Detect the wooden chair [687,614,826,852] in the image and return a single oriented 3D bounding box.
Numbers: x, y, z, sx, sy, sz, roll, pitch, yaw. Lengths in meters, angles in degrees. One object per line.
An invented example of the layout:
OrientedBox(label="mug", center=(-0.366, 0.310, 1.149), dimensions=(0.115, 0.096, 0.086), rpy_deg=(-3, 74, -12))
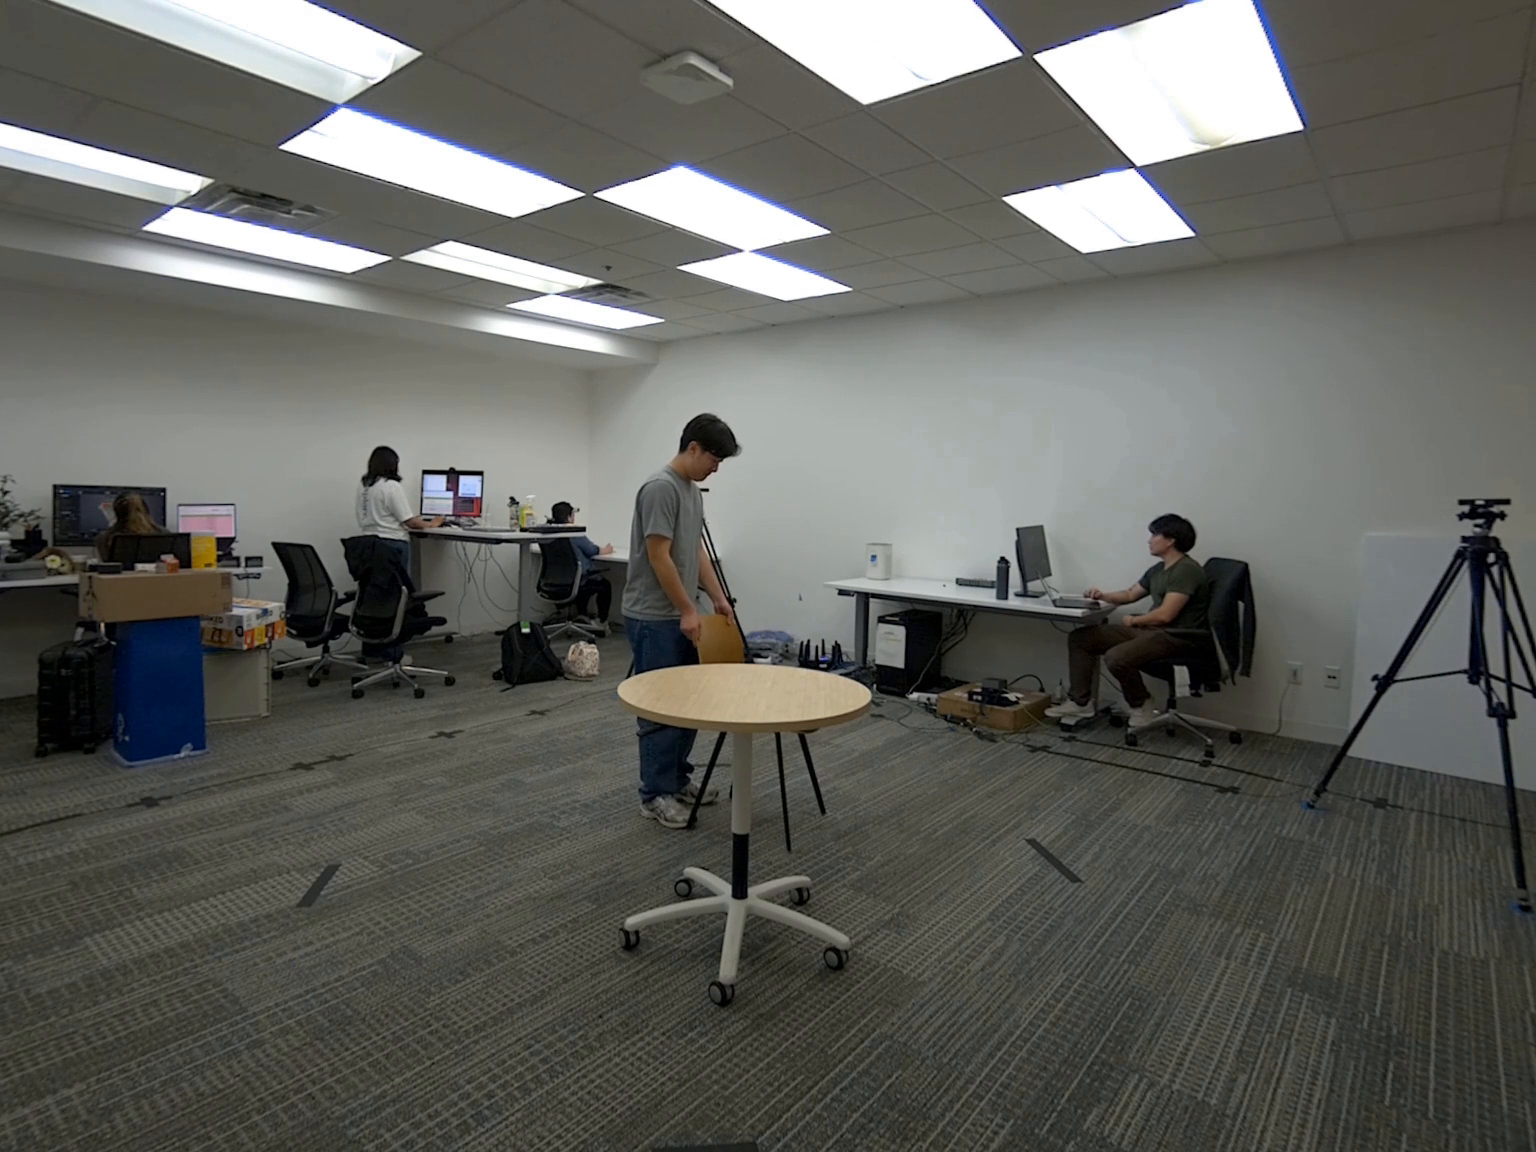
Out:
OrientedBox(label="wooden chair", center=(-0.033, 0.596, 3.532), dimensions=(0.535, 0.877, 0.467), rpy_deg=(-2, 1, 23))
